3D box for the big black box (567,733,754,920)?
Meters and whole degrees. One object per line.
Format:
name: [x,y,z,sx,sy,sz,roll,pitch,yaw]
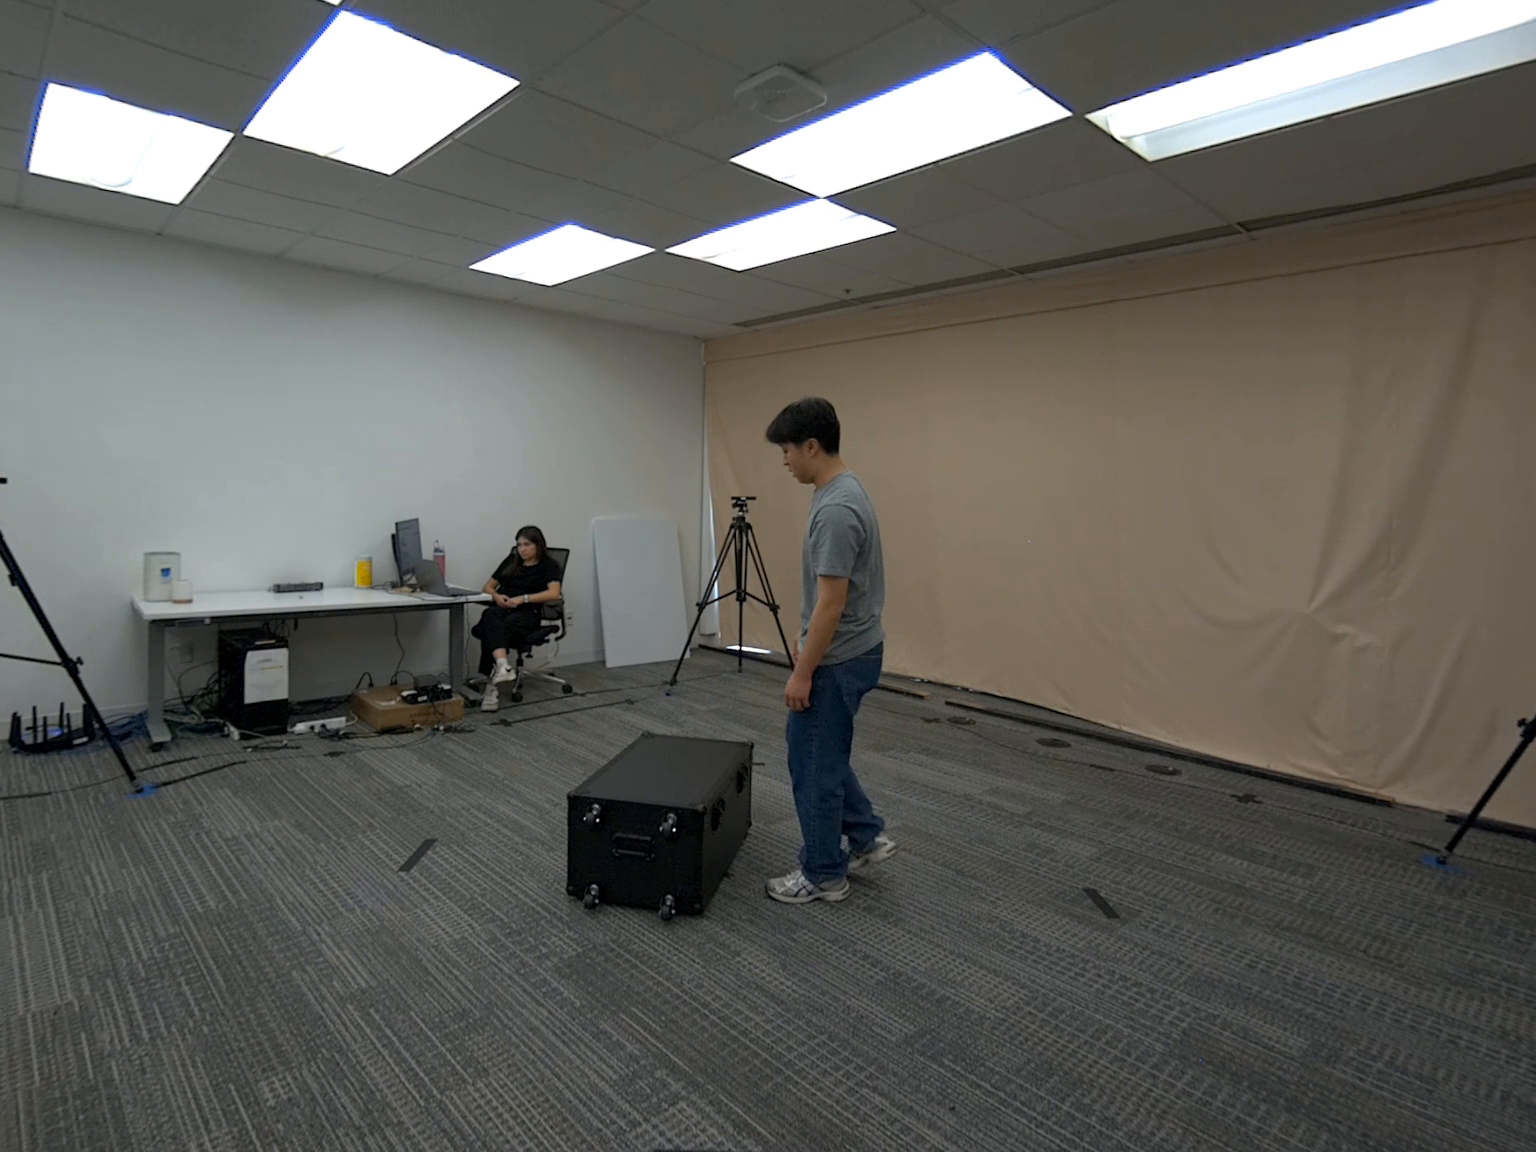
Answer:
big black box: [-0.387,0.904,3.154,0.527,0.395,0.855,3,5,12]
